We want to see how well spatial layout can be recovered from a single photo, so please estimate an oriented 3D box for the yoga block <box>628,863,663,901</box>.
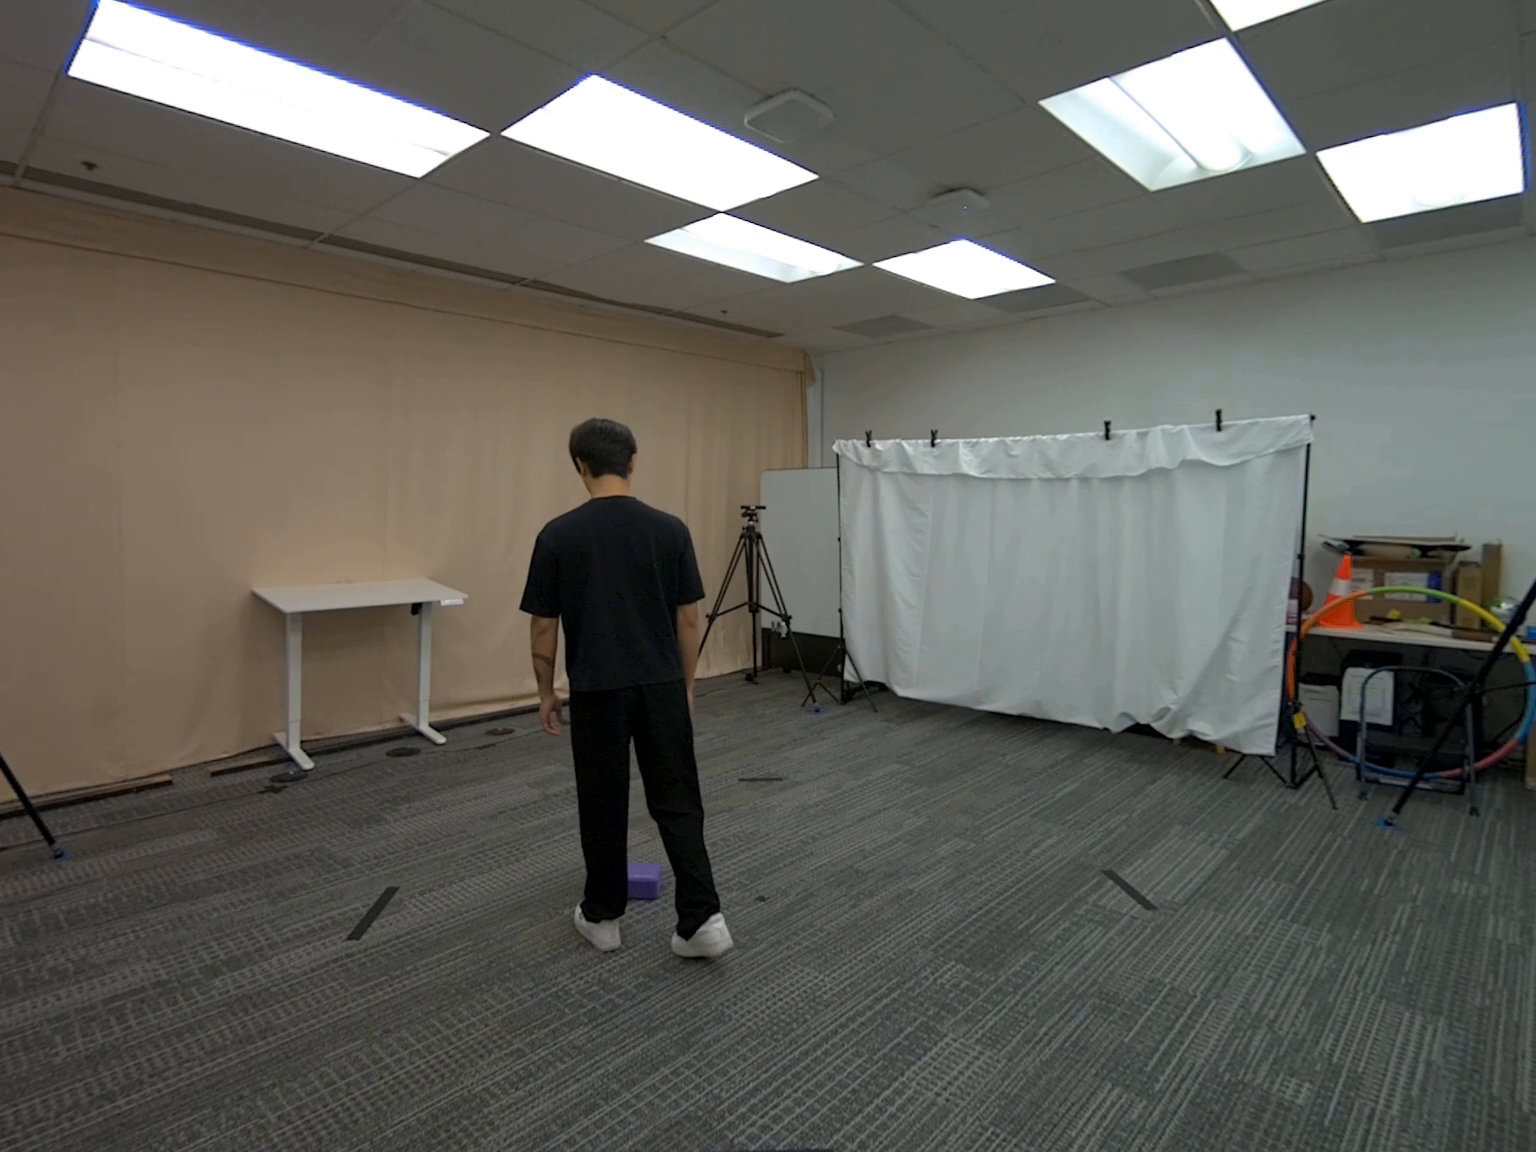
[{"bbox_3d":[-0.508,1.100,3.045,0.230,0.076,0.149,1,4,2],"label":"yoga block"}]
